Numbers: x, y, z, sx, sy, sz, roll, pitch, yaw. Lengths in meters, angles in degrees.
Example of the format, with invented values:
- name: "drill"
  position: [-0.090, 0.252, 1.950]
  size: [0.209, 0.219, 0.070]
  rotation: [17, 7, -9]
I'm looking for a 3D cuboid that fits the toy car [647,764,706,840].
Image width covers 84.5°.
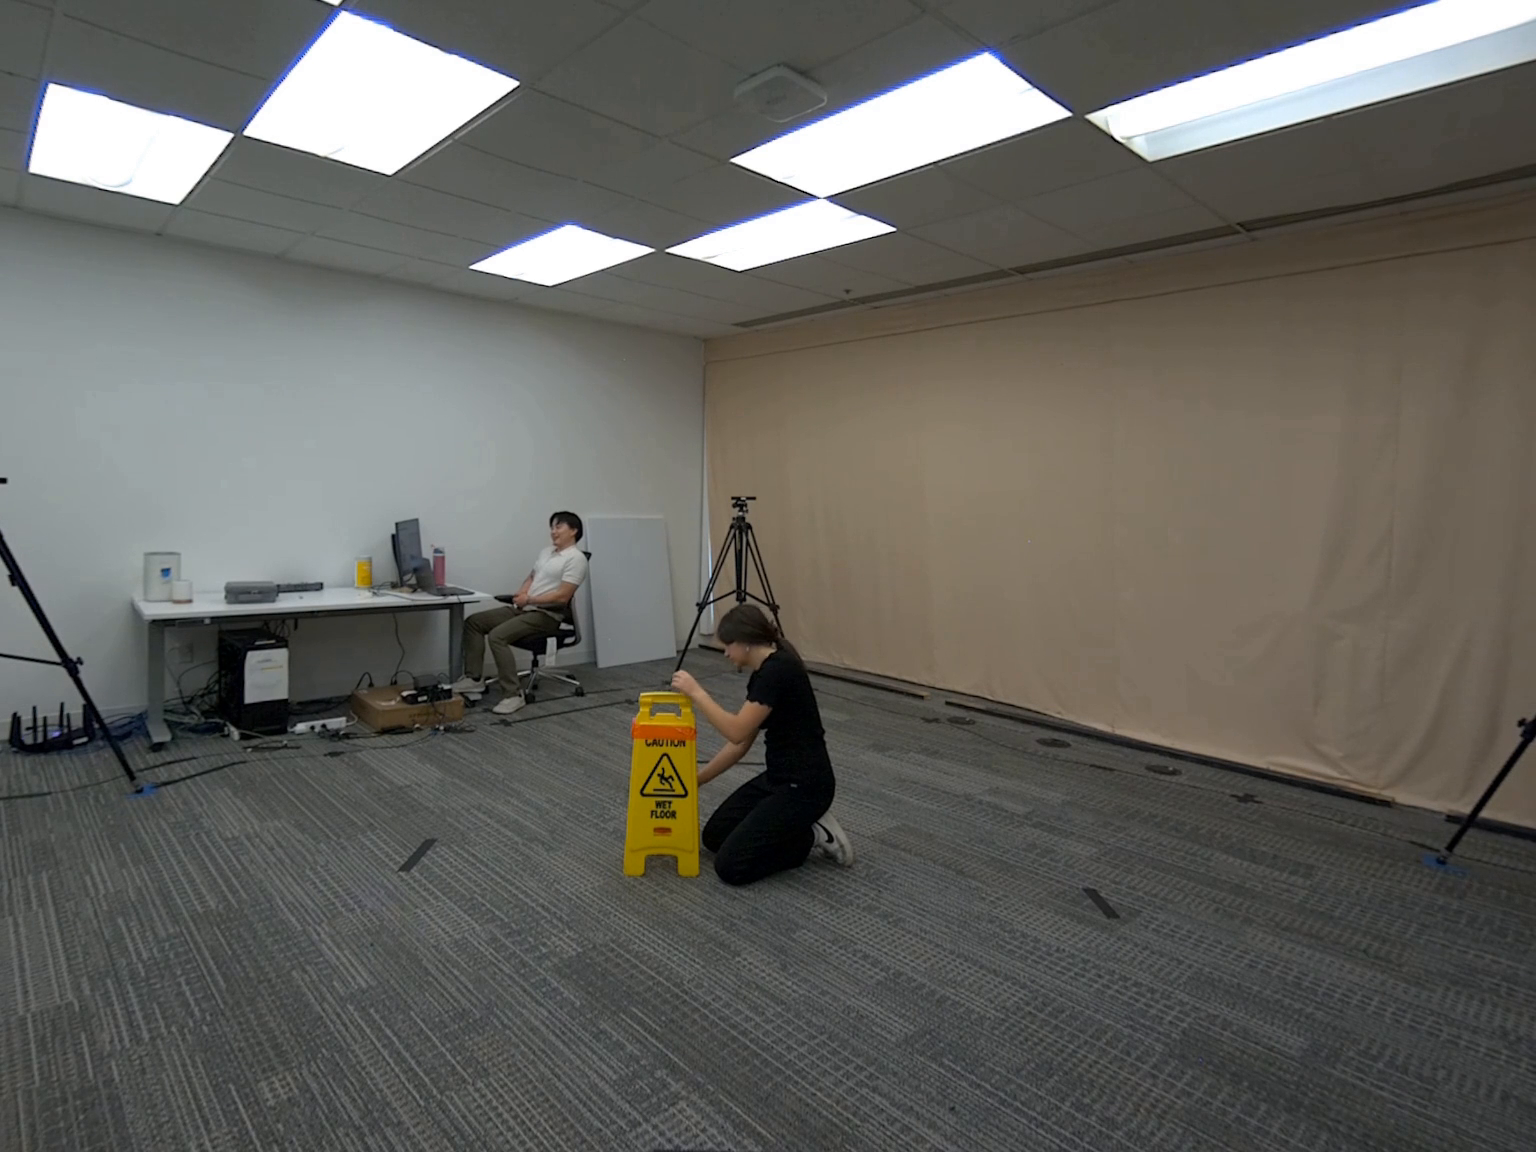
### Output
- name: "toy car"
  position: [-0.359, 0.882, 3.308]
  size: [0.130, 0.249, 0.085]
  rotation: [-24, 21, 3]
